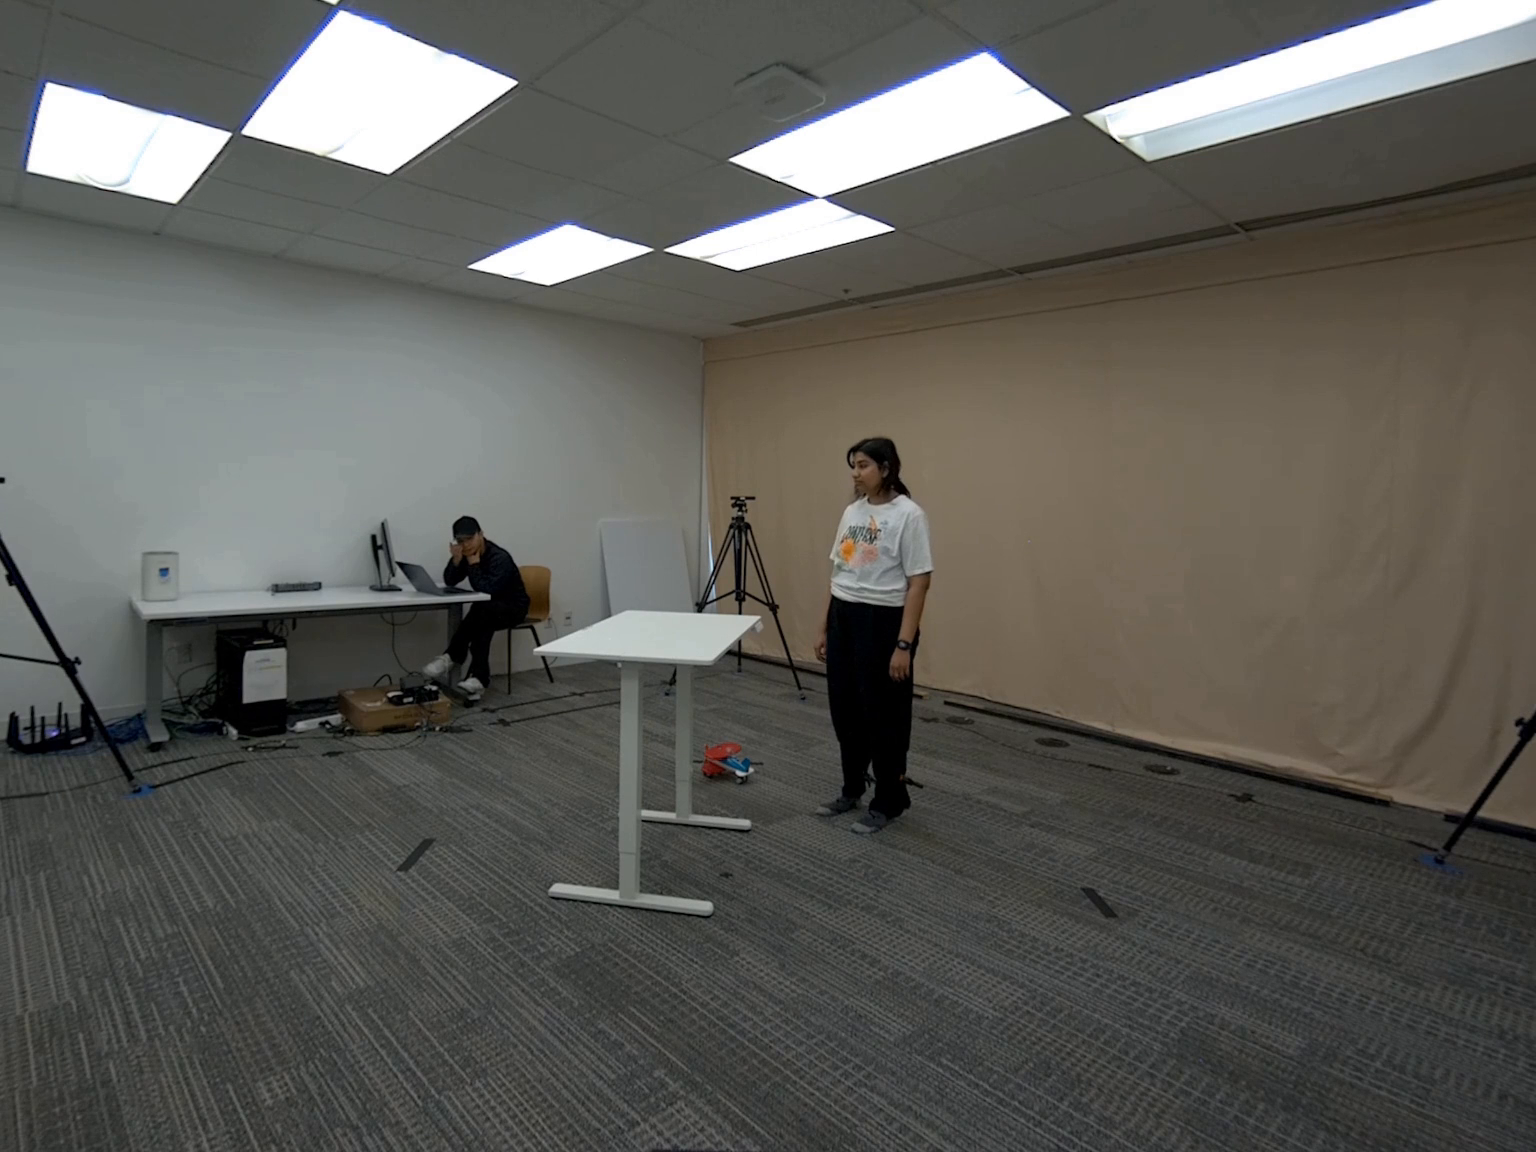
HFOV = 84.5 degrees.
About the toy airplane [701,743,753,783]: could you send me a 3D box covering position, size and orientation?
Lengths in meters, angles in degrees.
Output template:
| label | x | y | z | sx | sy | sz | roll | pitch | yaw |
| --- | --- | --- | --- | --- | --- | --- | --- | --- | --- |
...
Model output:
| label | x | y | z | sx | sy | sz | roll | pitch | yaw |
| --- | --- | --- | --- | --- | --- | --- | --- | --- | --- |
| toy airplane | -0.215 | 0.936 | 4.216 | 0.261 | 0.156 | 0.250 | 2 | 3 | 7 |
